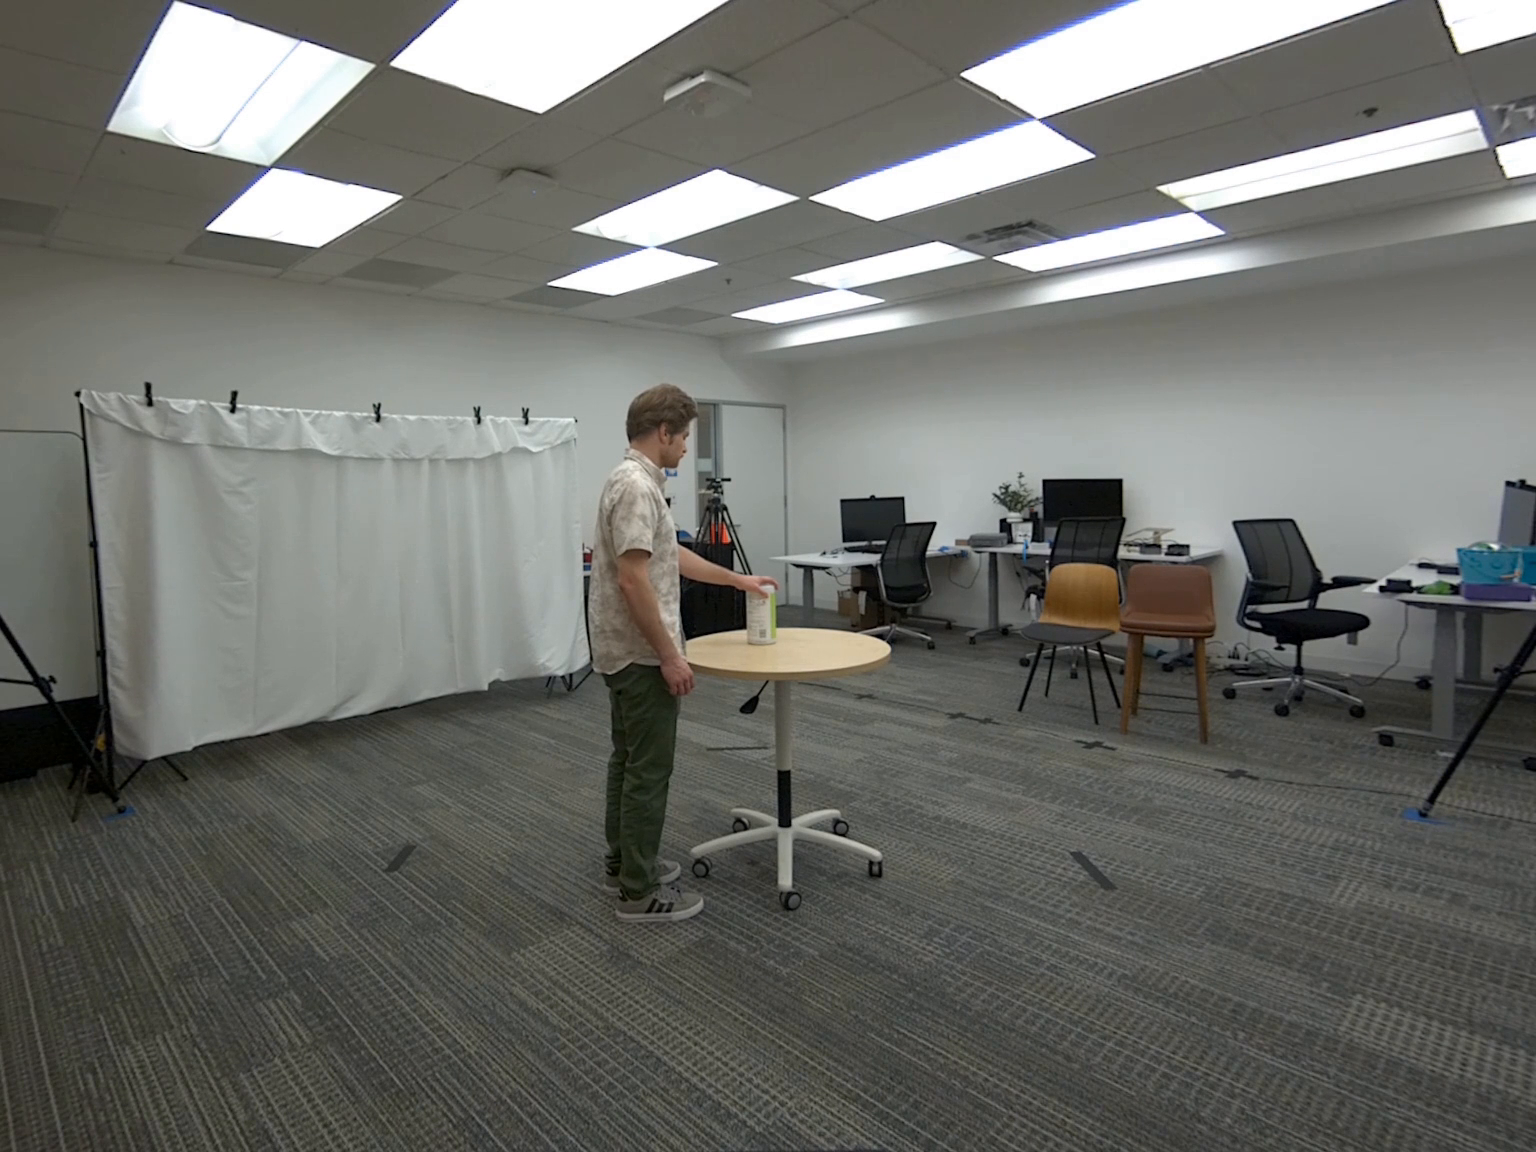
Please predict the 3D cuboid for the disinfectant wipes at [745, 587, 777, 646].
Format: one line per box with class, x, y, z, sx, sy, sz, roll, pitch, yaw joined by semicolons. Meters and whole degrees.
disinfectant wipes;-0.023;0.141;3.147;0.118;0.217;0.118;-1;2;-2
